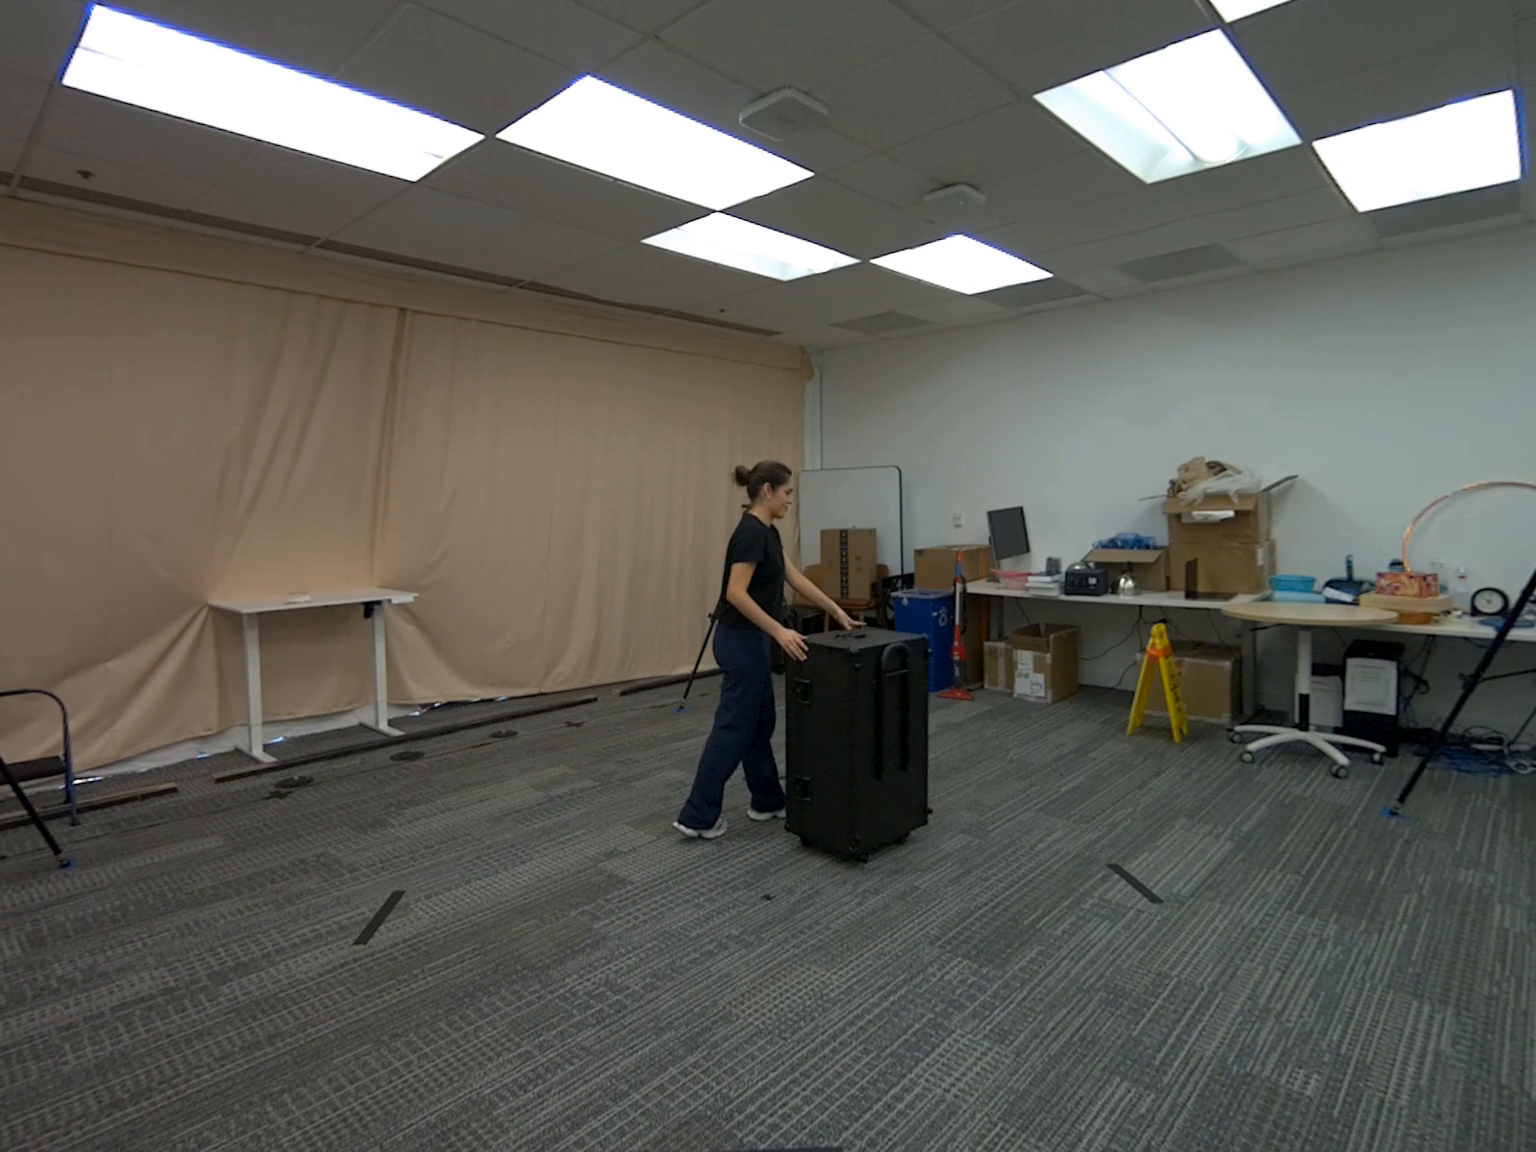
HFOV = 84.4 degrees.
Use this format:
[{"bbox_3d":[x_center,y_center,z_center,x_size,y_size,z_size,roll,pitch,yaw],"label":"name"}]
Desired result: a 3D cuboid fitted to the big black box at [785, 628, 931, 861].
[{"bbox_3d":[0.389,0.673,3.416,0.505,0.859,0.409,-3,5,-44],"label":"big black box"}]
